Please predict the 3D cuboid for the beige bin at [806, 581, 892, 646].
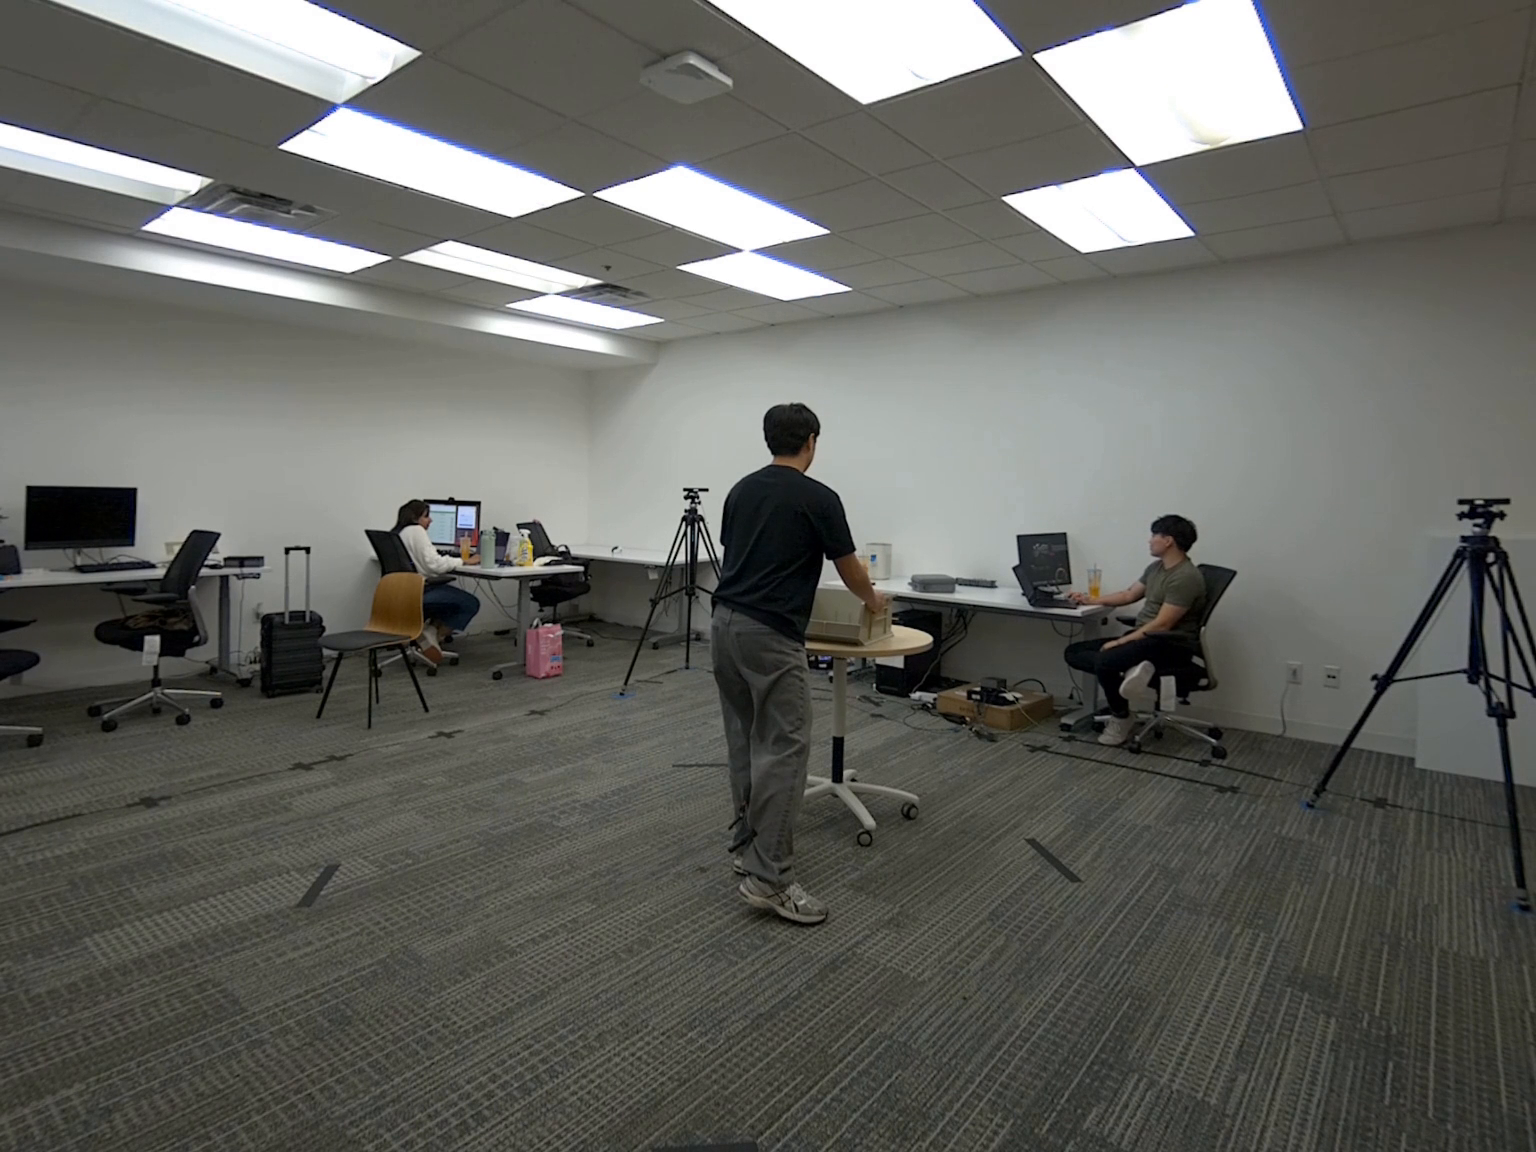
[{"bbox_3d":[0.267,0.163,3.573,0.435,0.188,0.367,3,4,32],"label":"beige bin"}]
